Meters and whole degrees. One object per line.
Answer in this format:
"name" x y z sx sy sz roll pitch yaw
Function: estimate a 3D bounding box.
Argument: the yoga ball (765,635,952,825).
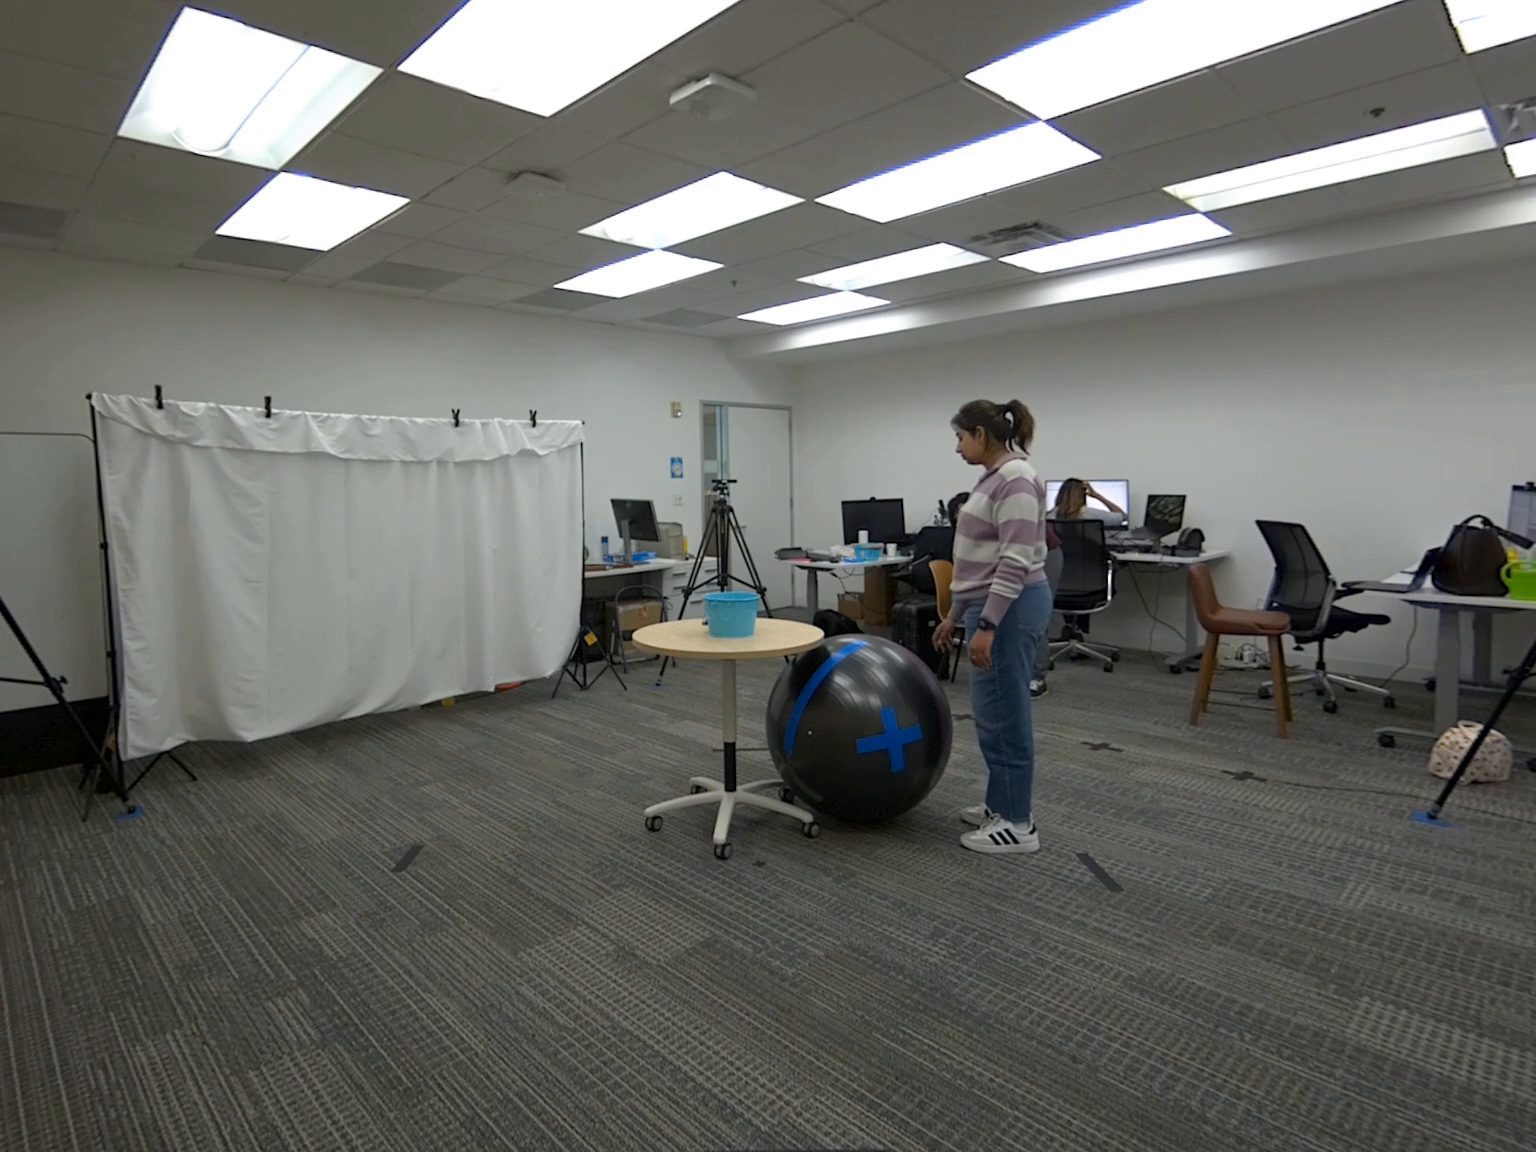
"yoga ball" 0.374 0.620 3.533 0.757 0.755 0.762 -1 5 -2
